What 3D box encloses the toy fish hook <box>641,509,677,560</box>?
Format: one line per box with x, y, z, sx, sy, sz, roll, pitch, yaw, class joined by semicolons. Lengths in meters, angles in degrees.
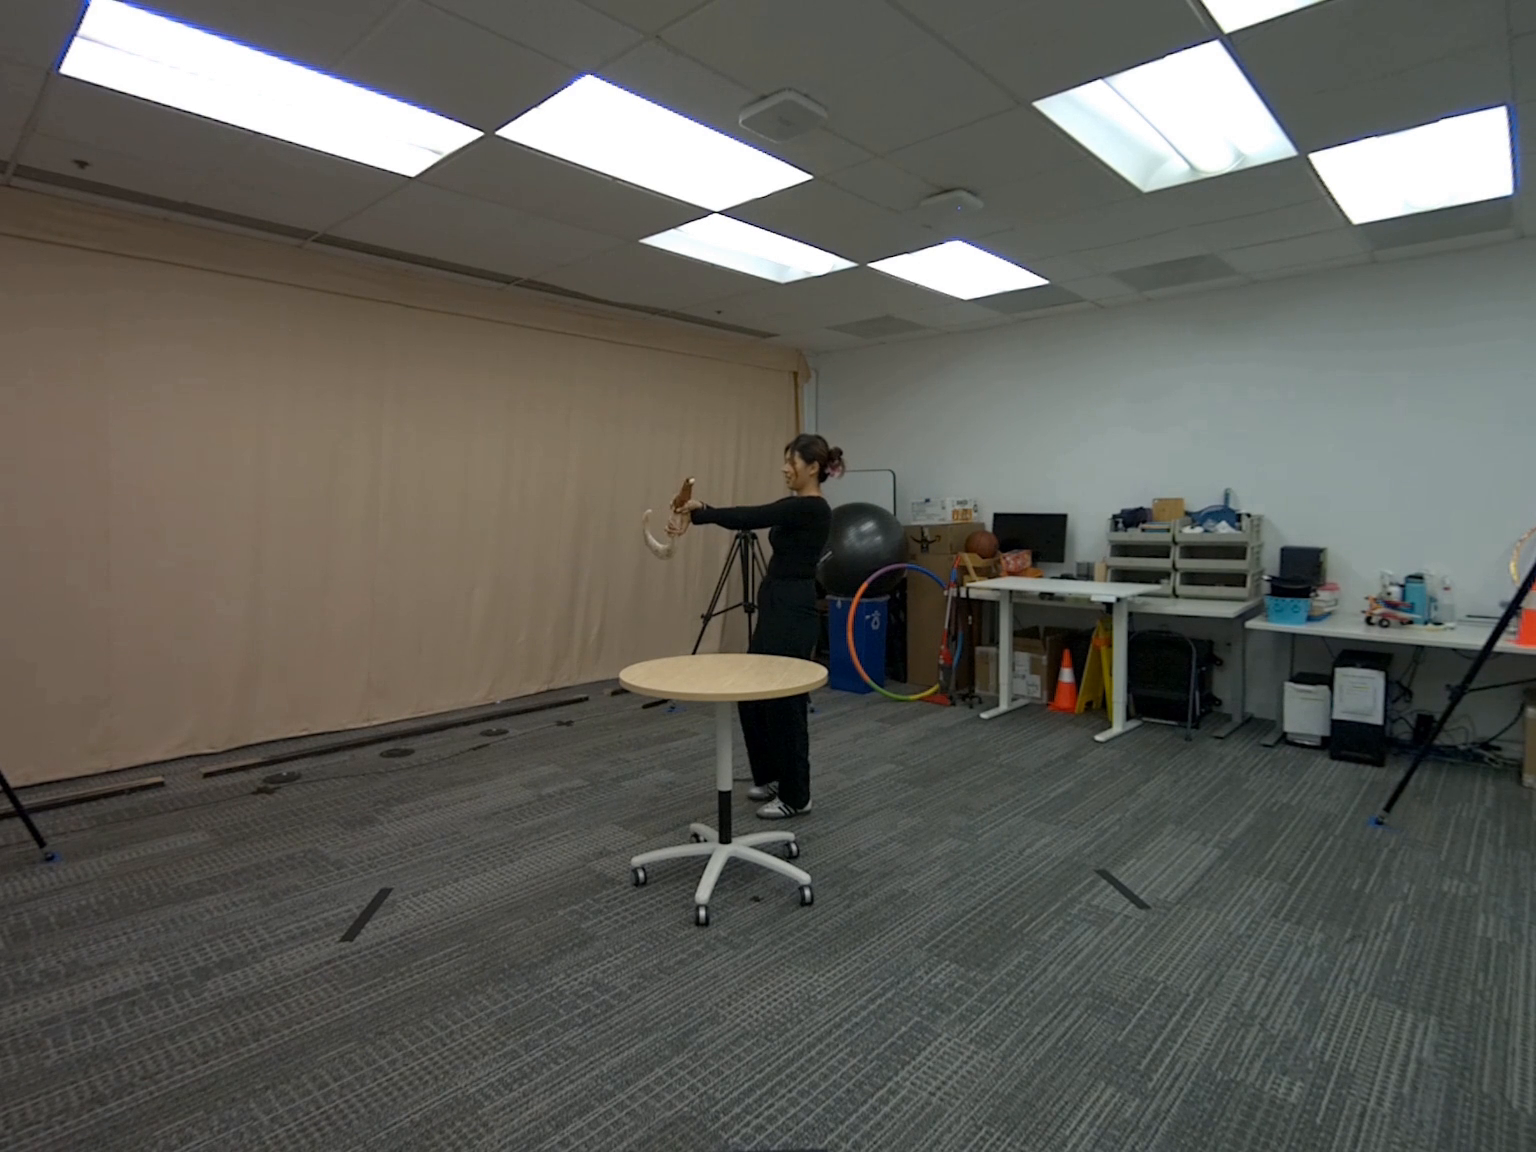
-0.440;-0.273;3.683;0.230;0.504;0.047;41;43;19;toy fish hook
